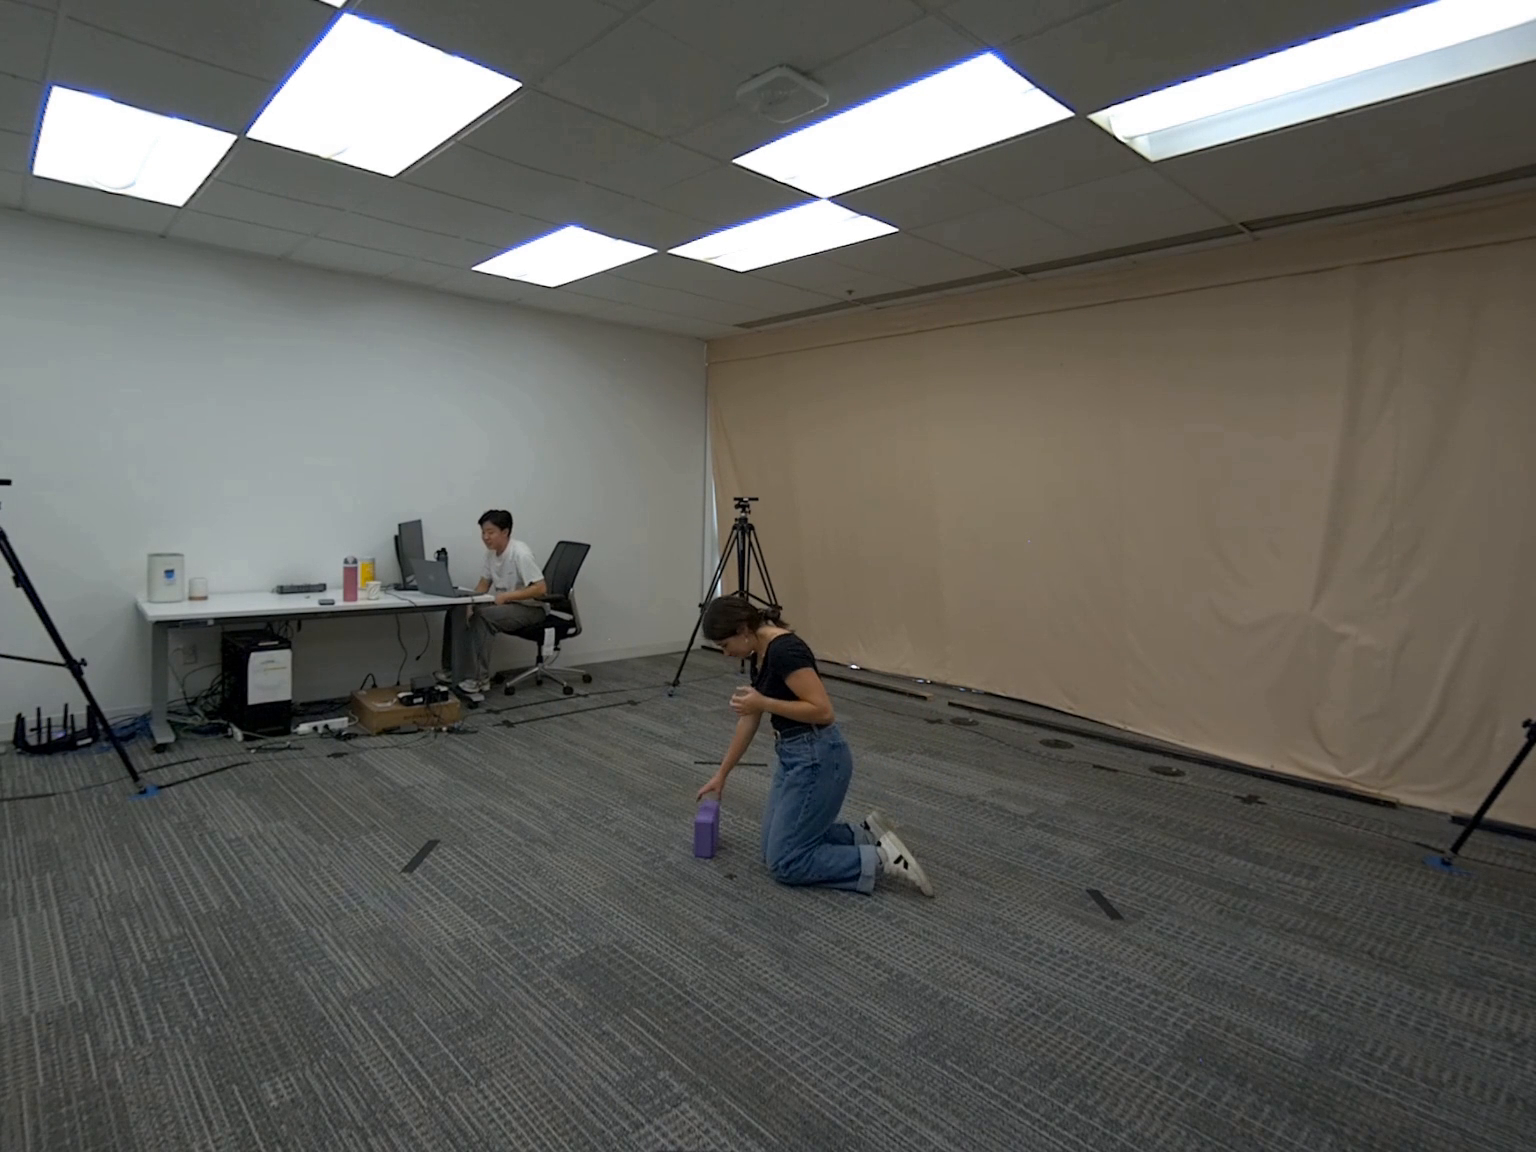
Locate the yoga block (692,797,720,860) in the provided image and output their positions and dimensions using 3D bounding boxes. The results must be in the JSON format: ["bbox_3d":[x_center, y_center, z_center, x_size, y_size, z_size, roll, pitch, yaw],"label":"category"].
[{"bbox_3d":[-0.246,1.005,3.362,0.077,0.148,0.230,1,7,2],"label":"yoga block"}]
